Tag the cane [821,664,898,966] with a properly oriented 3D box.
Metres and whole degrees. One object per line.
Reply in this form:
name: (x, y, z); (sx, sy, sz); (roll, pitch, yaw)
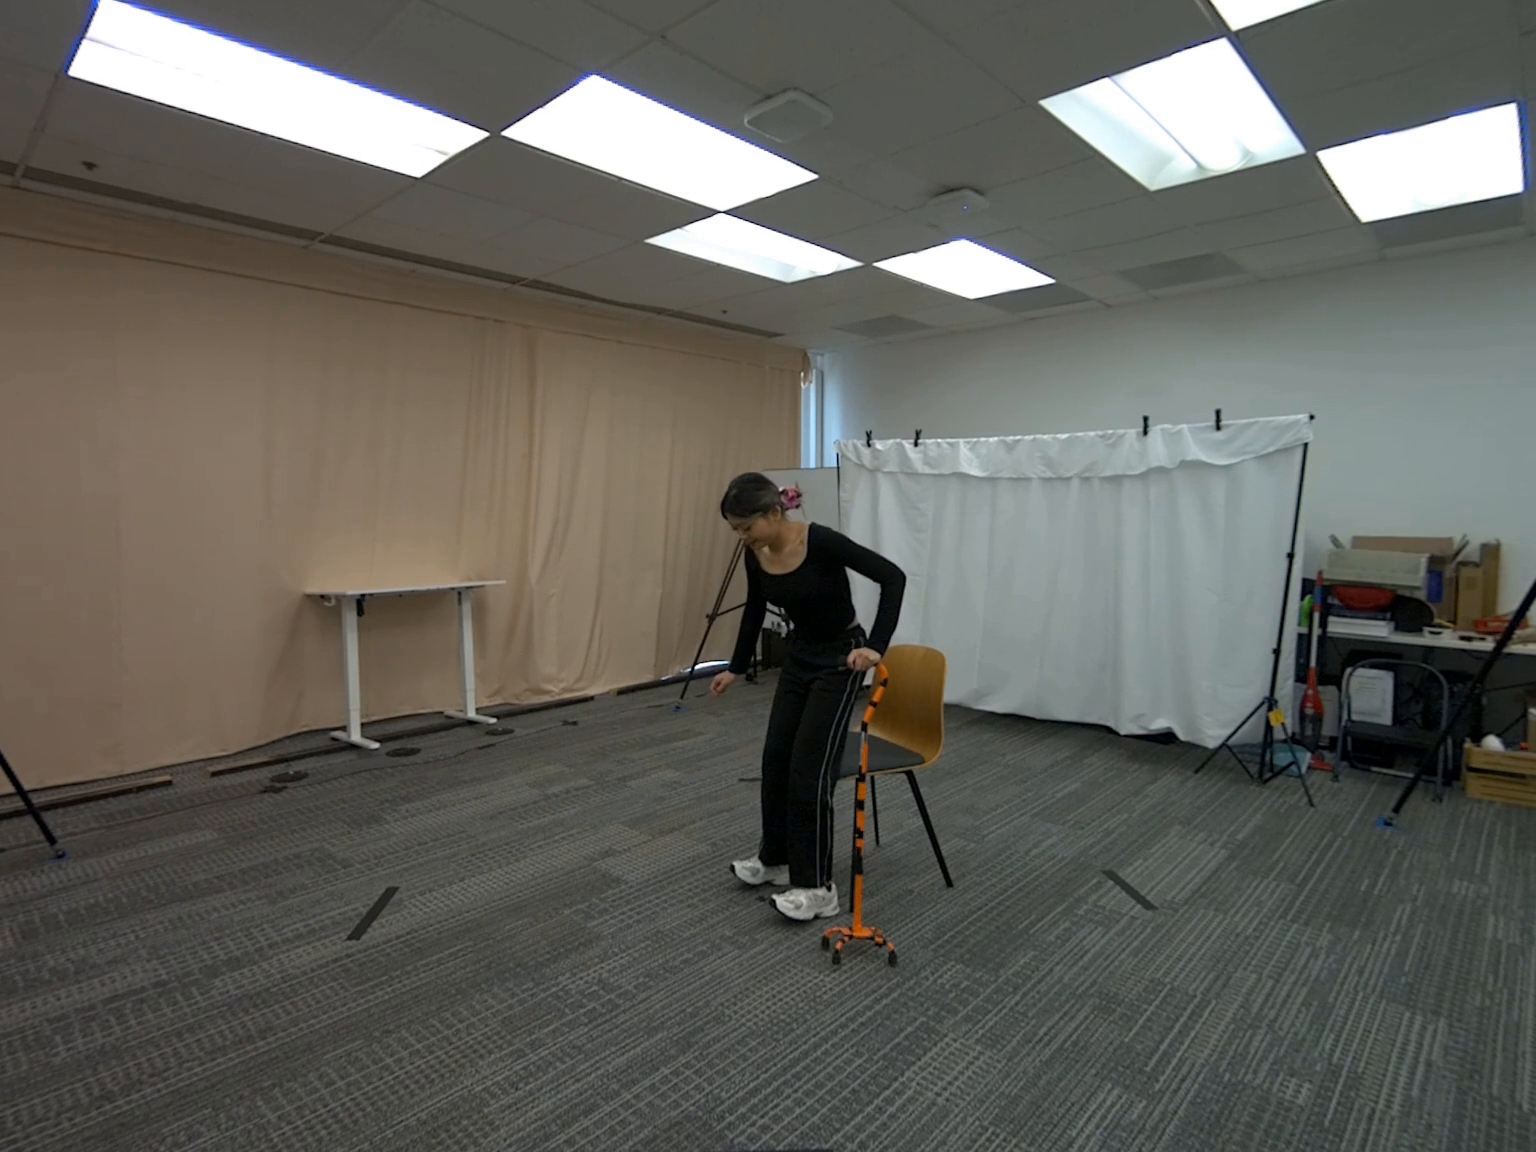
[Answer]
cane: (0.303, 0.714, 2.611); (0.204, 0.909, 0.153); (2, -2, -11)
